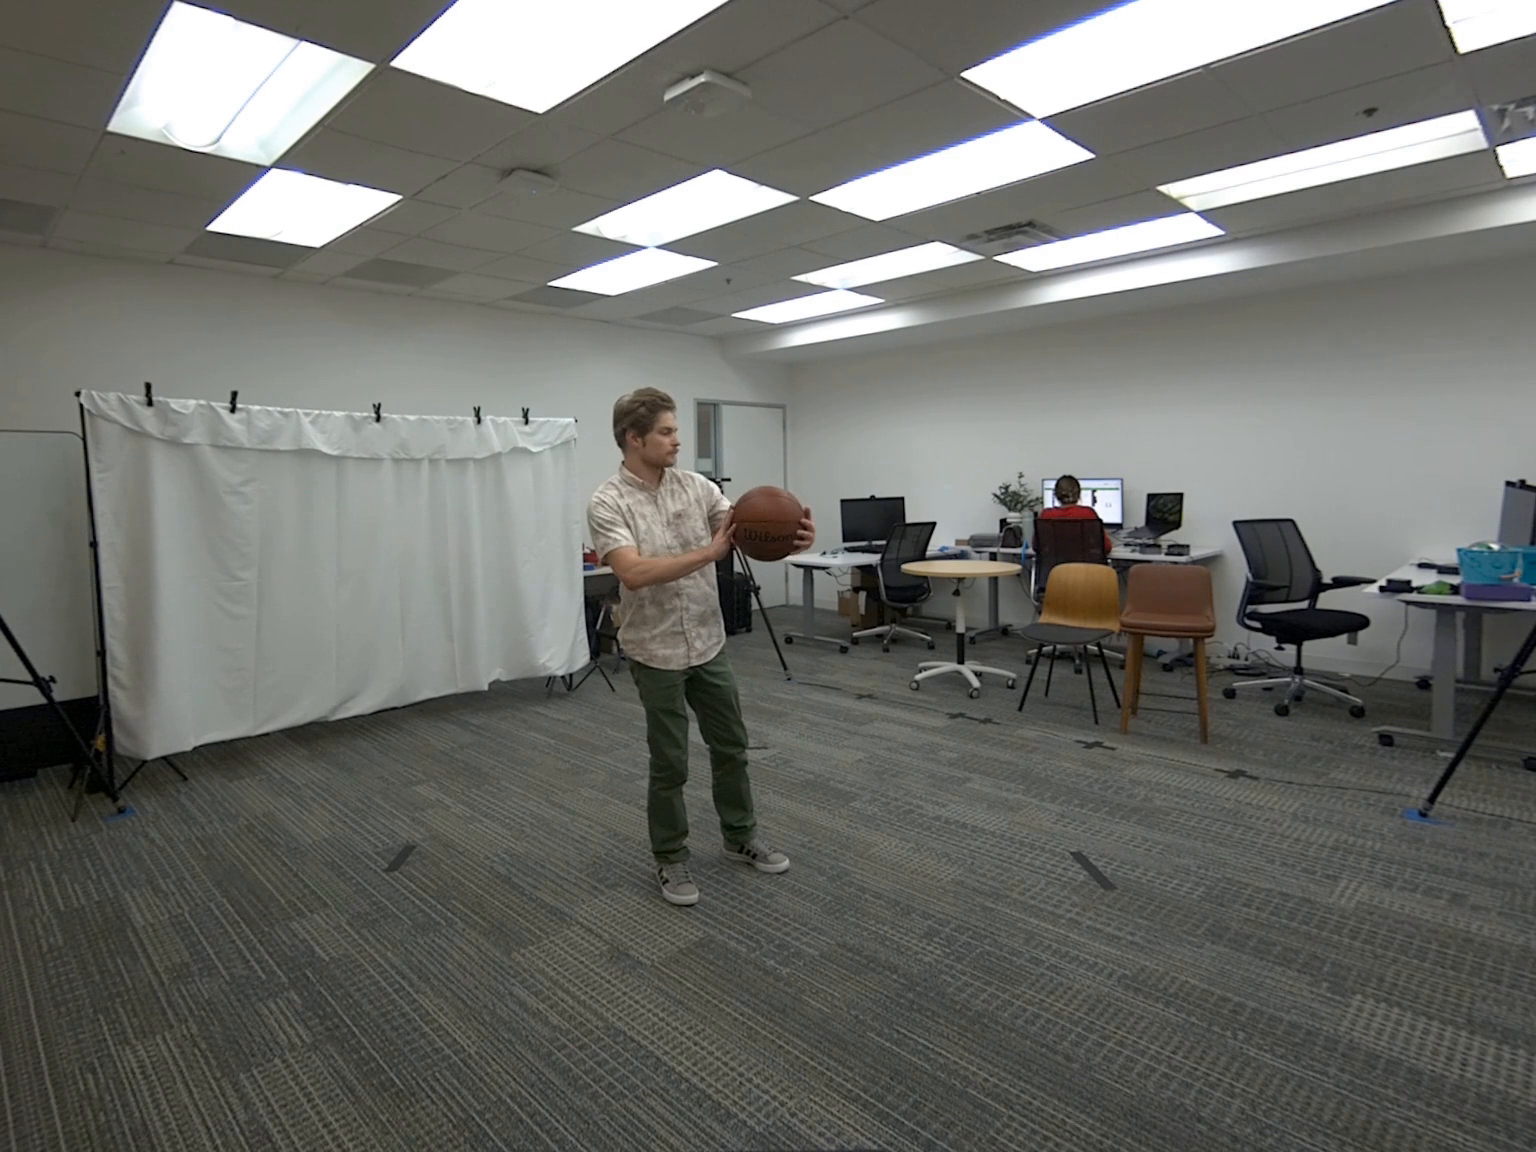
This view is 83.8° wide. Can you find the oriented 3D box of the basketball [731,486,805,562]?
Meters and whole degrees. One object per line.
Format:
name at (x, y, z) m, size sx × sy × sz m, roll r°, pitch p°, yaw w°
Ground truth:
basketball at (-0.011, -0.169, 2.679) m, size 0.236 × 0.235 × 0.237 m, roll -1°, pitch 5°, yaw -2°
